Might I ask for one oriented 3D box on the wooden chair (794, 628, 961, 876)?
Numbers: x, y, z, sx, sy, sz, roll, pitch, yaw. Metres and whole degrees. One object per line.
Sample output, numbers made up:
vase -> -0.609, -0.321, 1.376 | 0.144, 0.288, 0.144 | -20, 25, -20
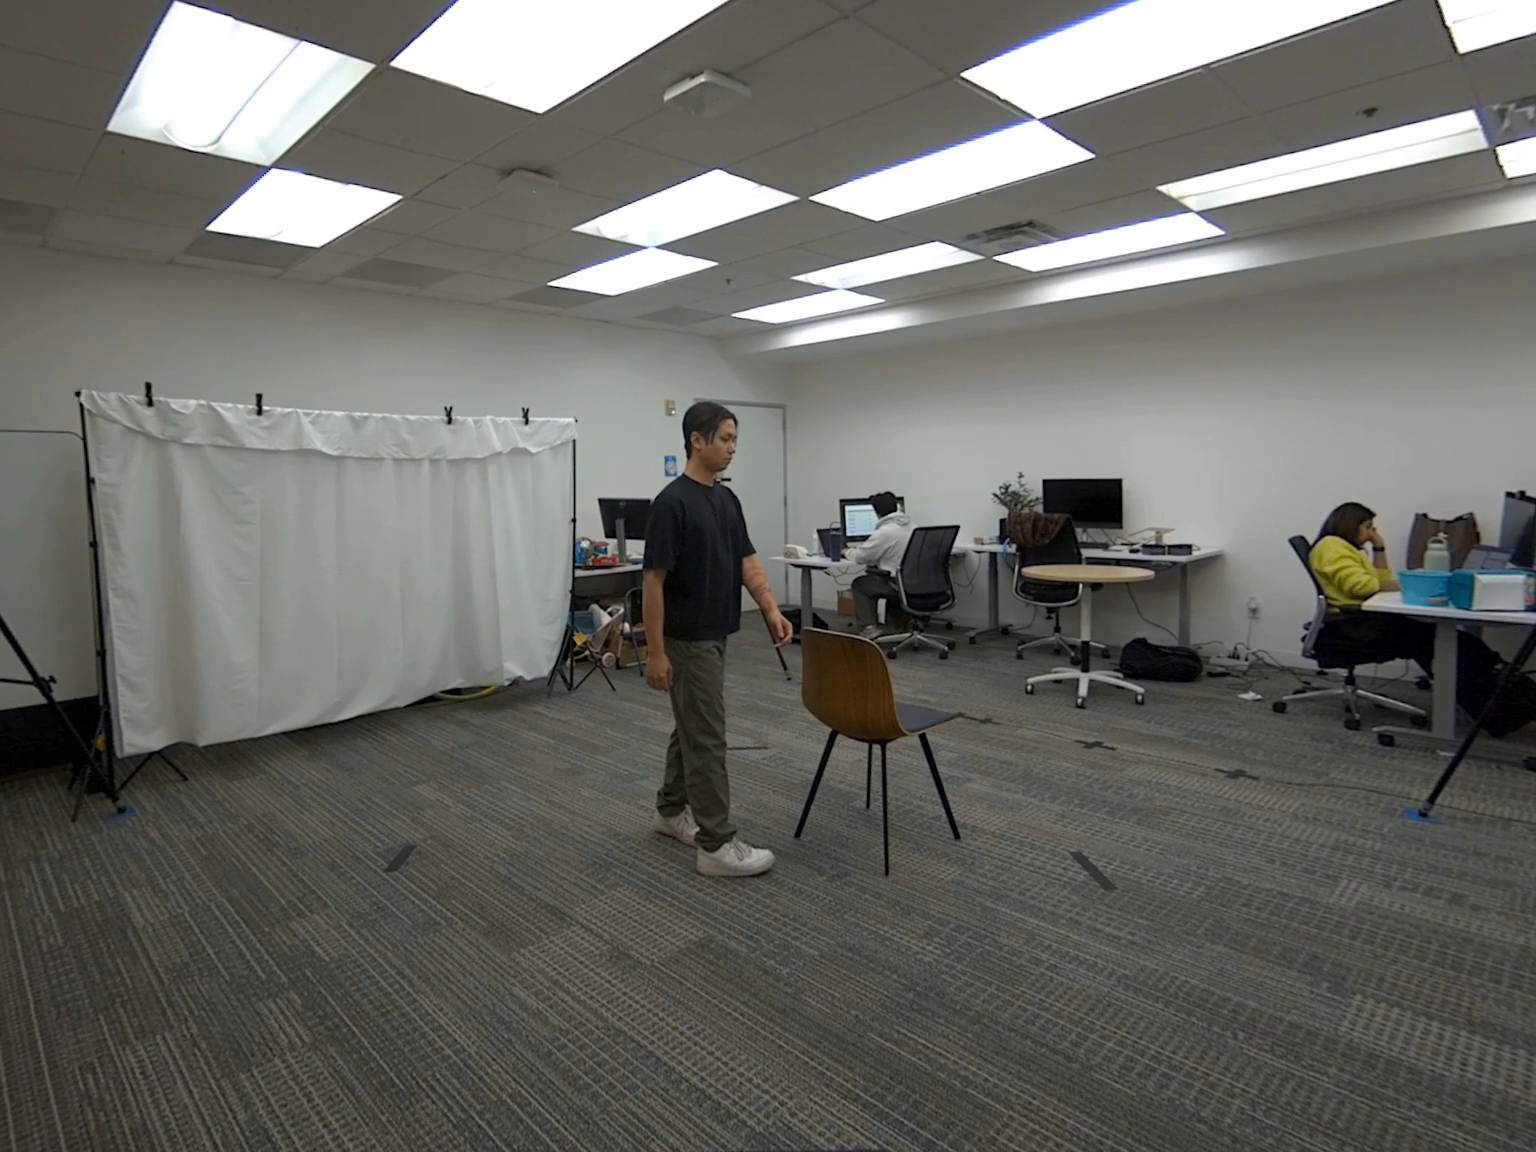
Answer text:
wooden chair -> 0.419, 0.586, 3.267 | 0.511, 0.871, 0.493 | -11, 10, -42
